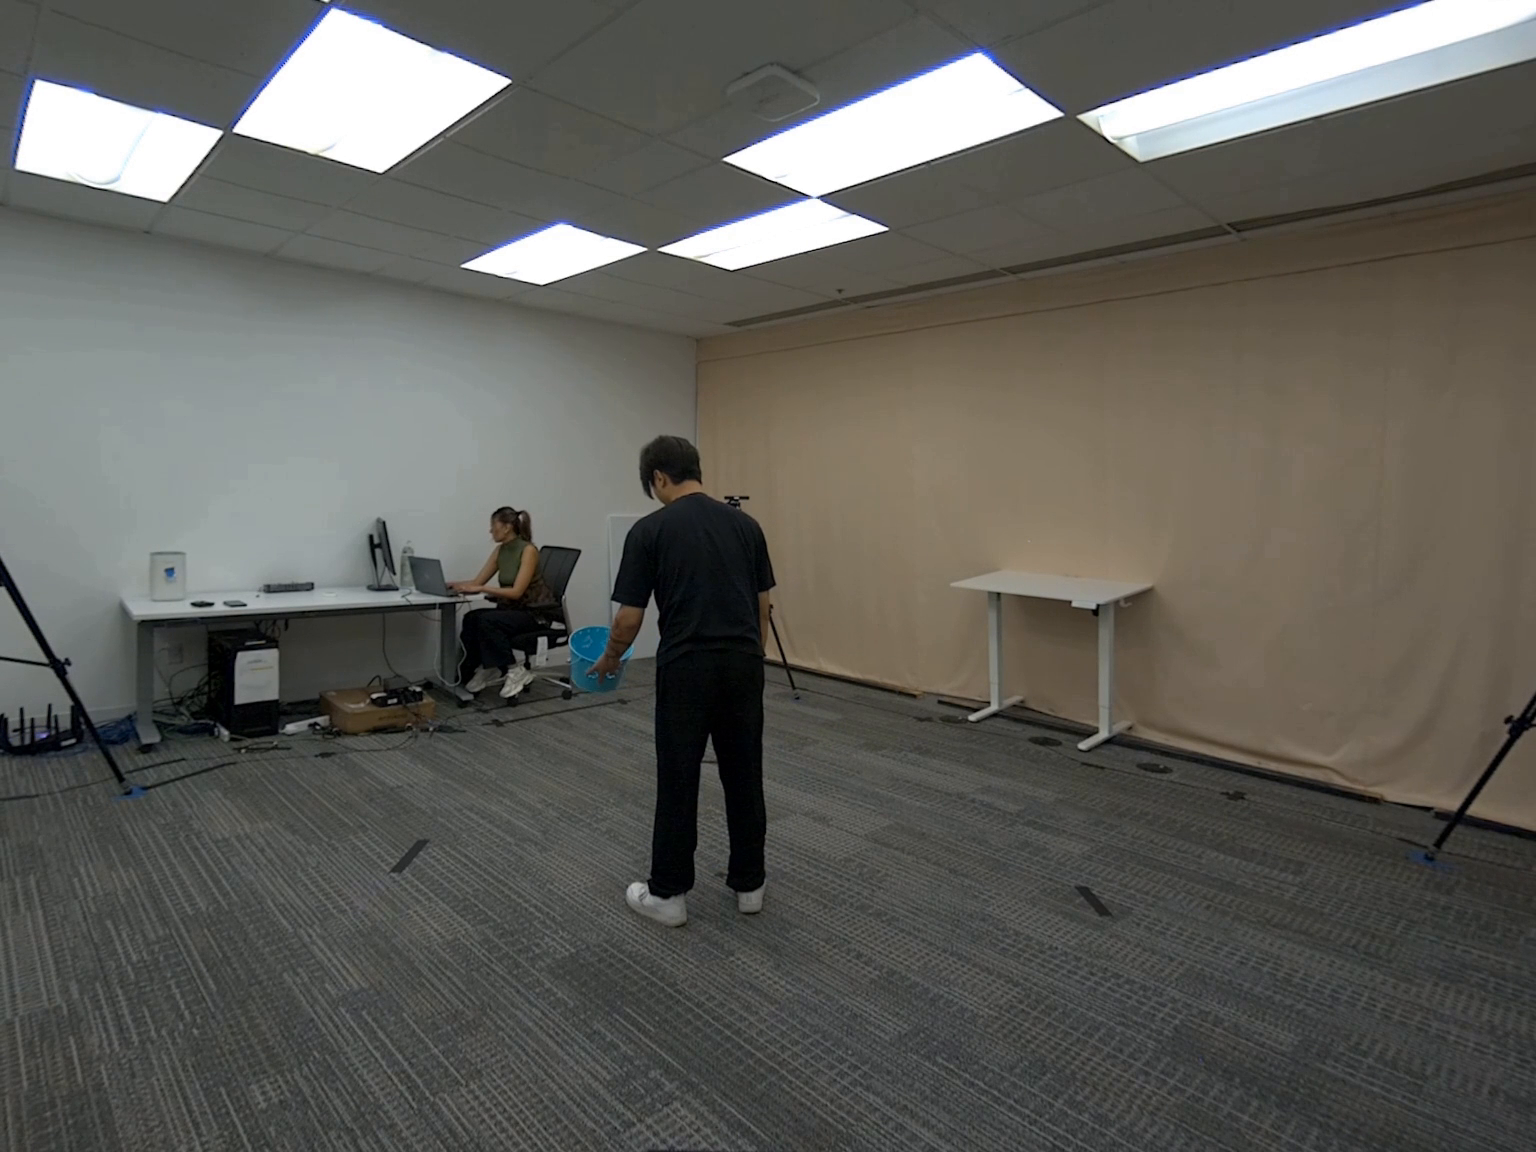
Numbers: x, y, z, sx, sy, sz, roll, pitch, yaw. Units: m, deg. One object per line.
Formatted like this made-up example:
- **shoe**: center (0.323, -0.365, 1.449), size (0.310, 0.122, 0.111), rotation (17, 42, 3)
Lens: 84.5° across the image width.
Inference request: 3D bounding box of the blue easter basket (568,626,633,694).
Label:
- **blue easter basket**: center (-0.628, 0.311, 3.079), size (0.242, 0.154, 0.248), rotation (10, 26, -6)
